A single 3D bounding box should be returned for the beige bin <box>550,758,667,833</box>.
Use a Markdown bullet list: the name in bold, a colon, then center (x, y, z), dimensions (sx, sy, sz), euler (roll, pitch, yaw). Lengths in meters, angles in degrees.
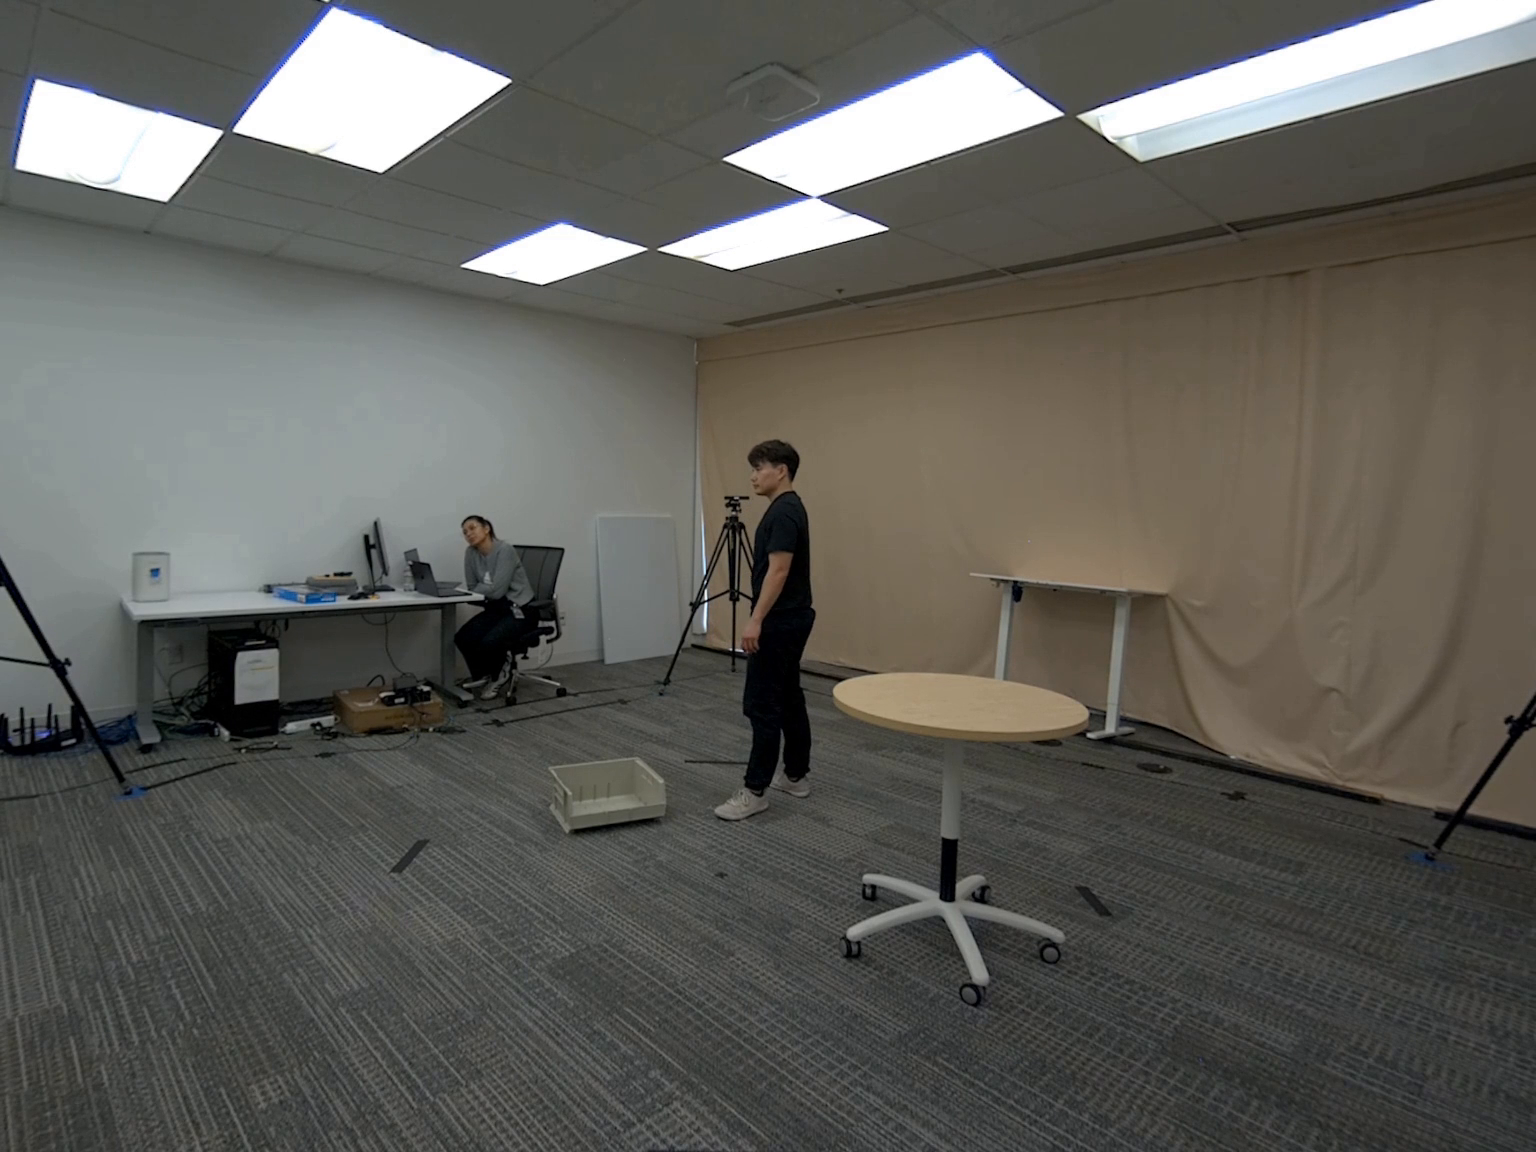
- **beige bin**: center (-0.714, 0.953, 3.658), dimensions (0.414, 0.188, 0.385), euler (-1, 5, -27)
